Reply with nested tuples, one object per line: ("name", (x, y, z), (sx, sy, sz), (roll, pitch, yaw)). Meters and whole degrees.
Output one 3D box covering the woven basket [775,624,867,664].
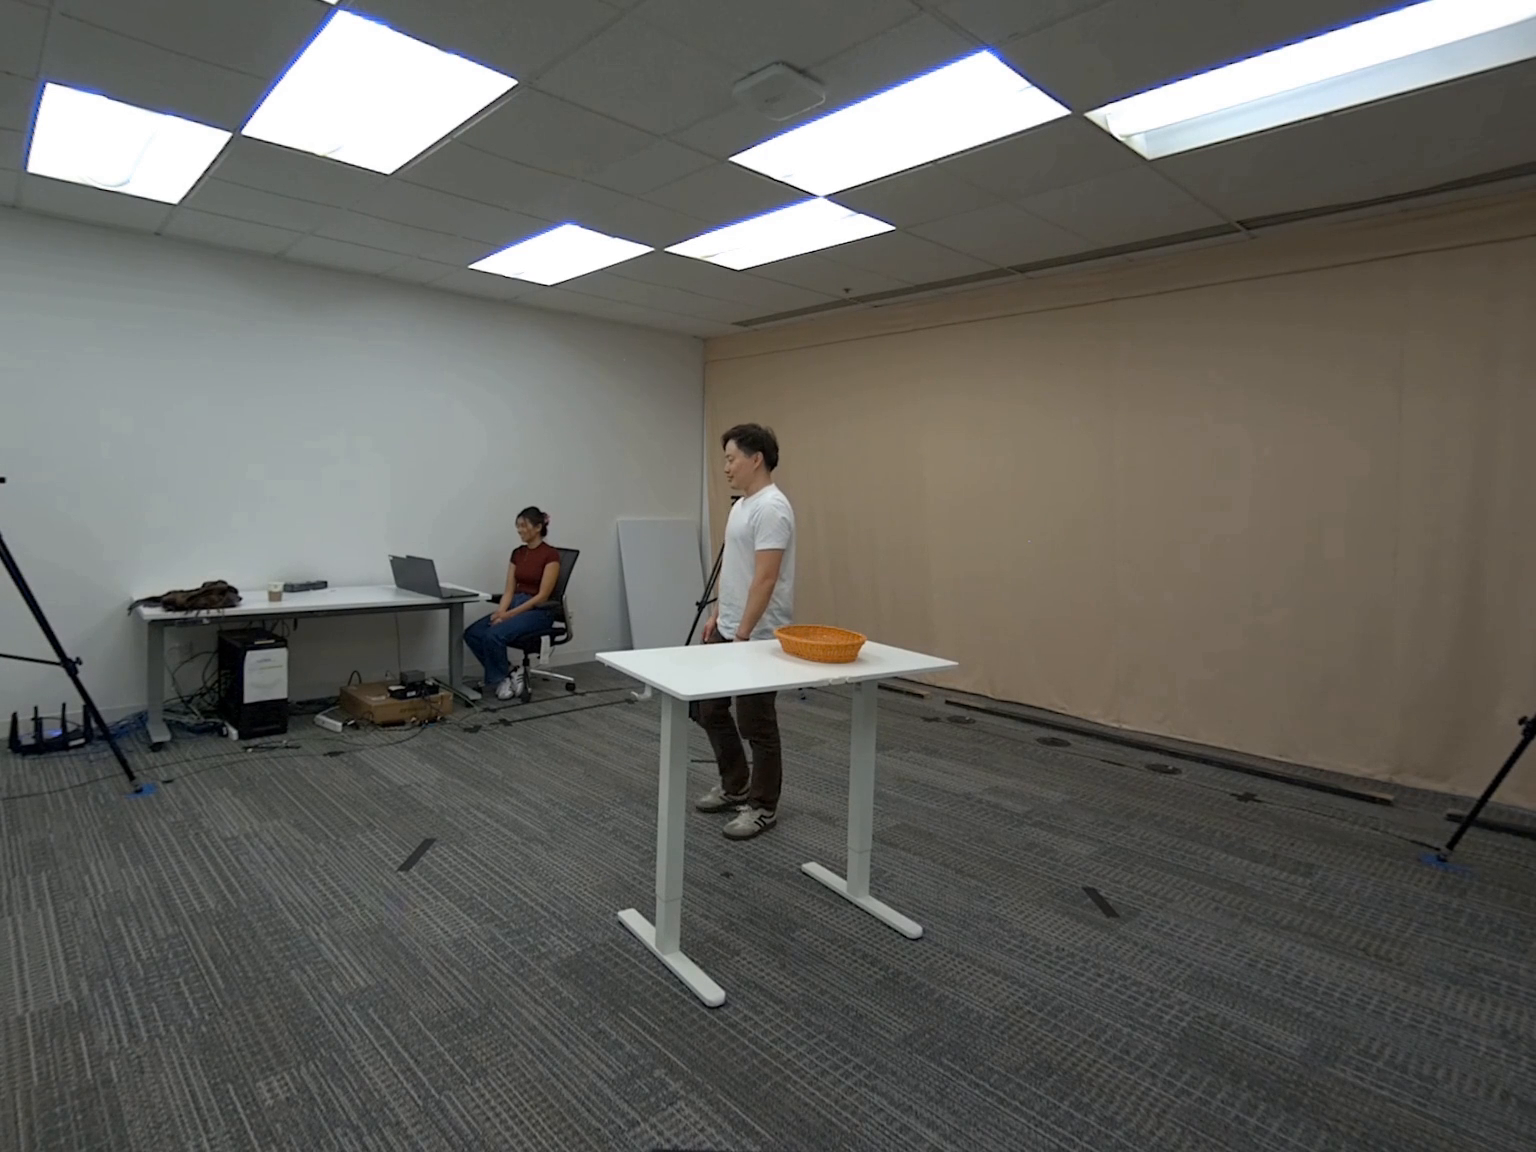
("woven basket", (0.159, 0.235, 2.739), (0.247, 0.073, 0.359), (-2, 6, -32))
